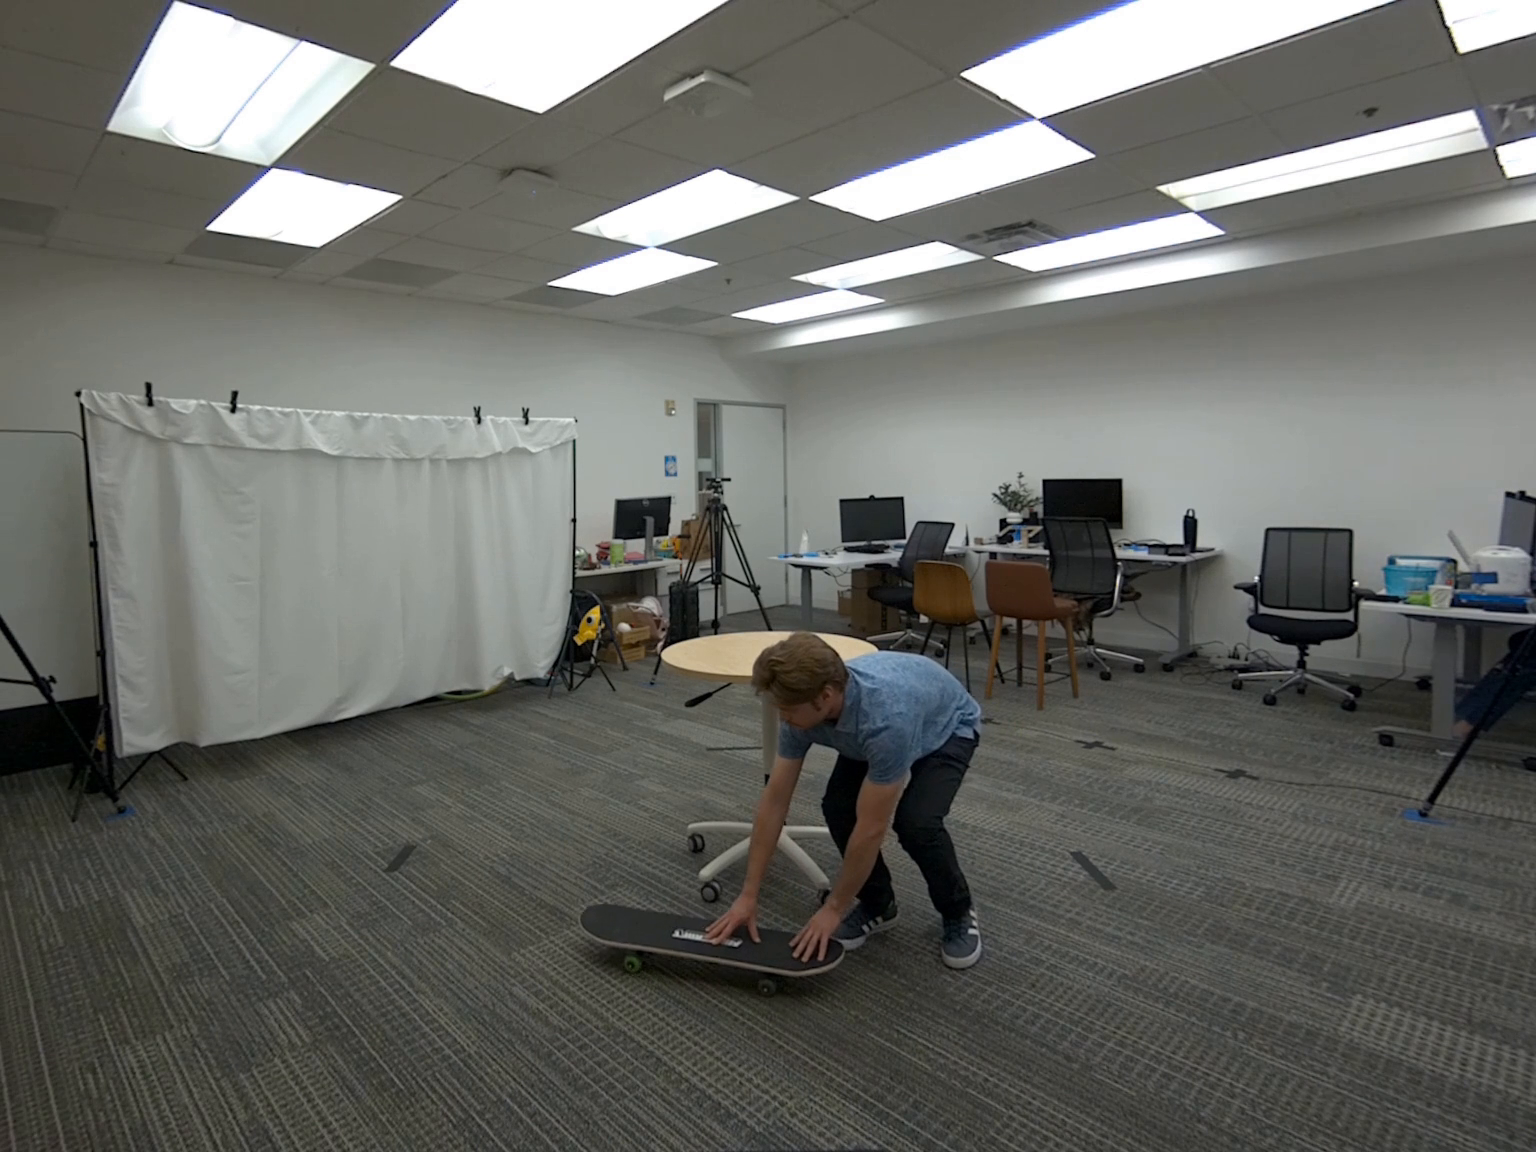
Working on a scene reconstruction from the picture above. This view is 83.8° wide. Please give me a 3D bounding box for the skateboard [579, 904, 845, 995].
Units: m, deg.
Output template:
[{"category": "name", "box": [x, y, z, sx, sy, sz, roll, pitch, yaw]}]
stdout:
[{"category": "skateboard", "box": [-0.169, 1.068, 2.444, 0.799, 0.110, 0.191, 1, 7, 18]}]
